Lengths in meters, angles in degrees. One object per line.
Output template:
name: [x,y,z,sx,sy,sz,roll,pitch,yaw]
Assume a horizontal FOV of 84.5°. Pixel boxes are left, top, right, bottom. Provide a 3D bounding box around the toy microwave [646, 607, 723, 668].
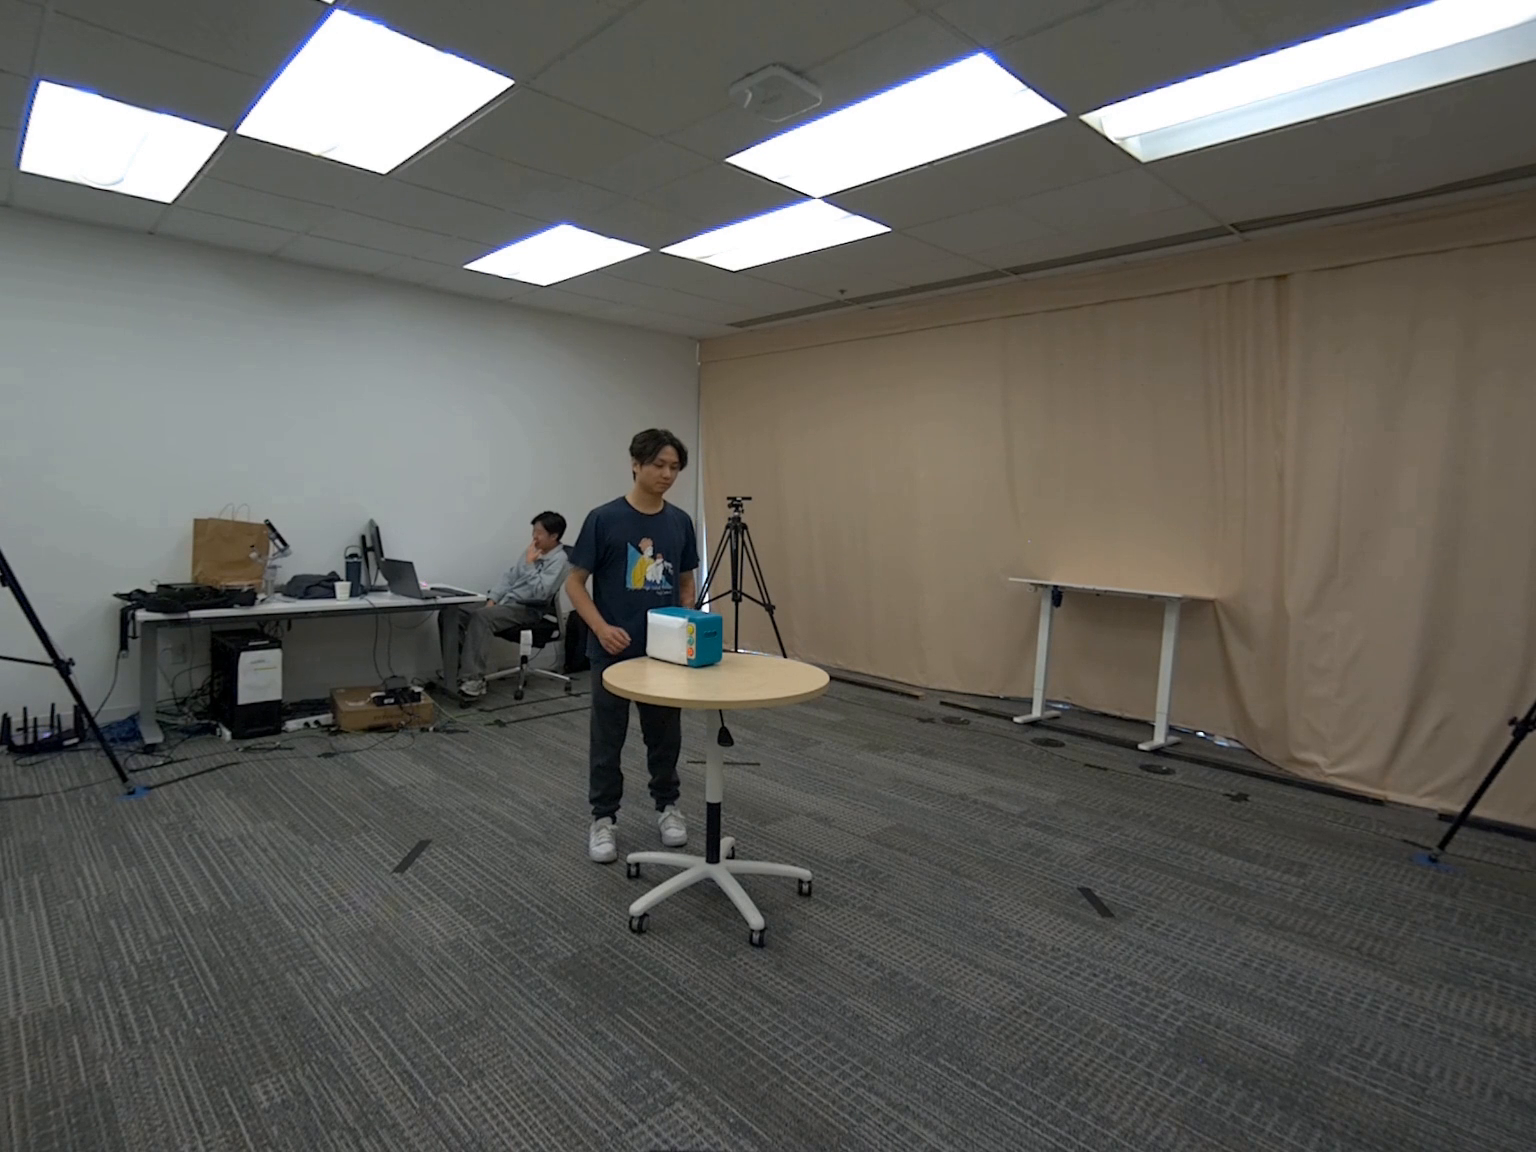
toy microwave: [-0.317,0.225,3.037,0.293,0.184,0.149,4,5,39]
